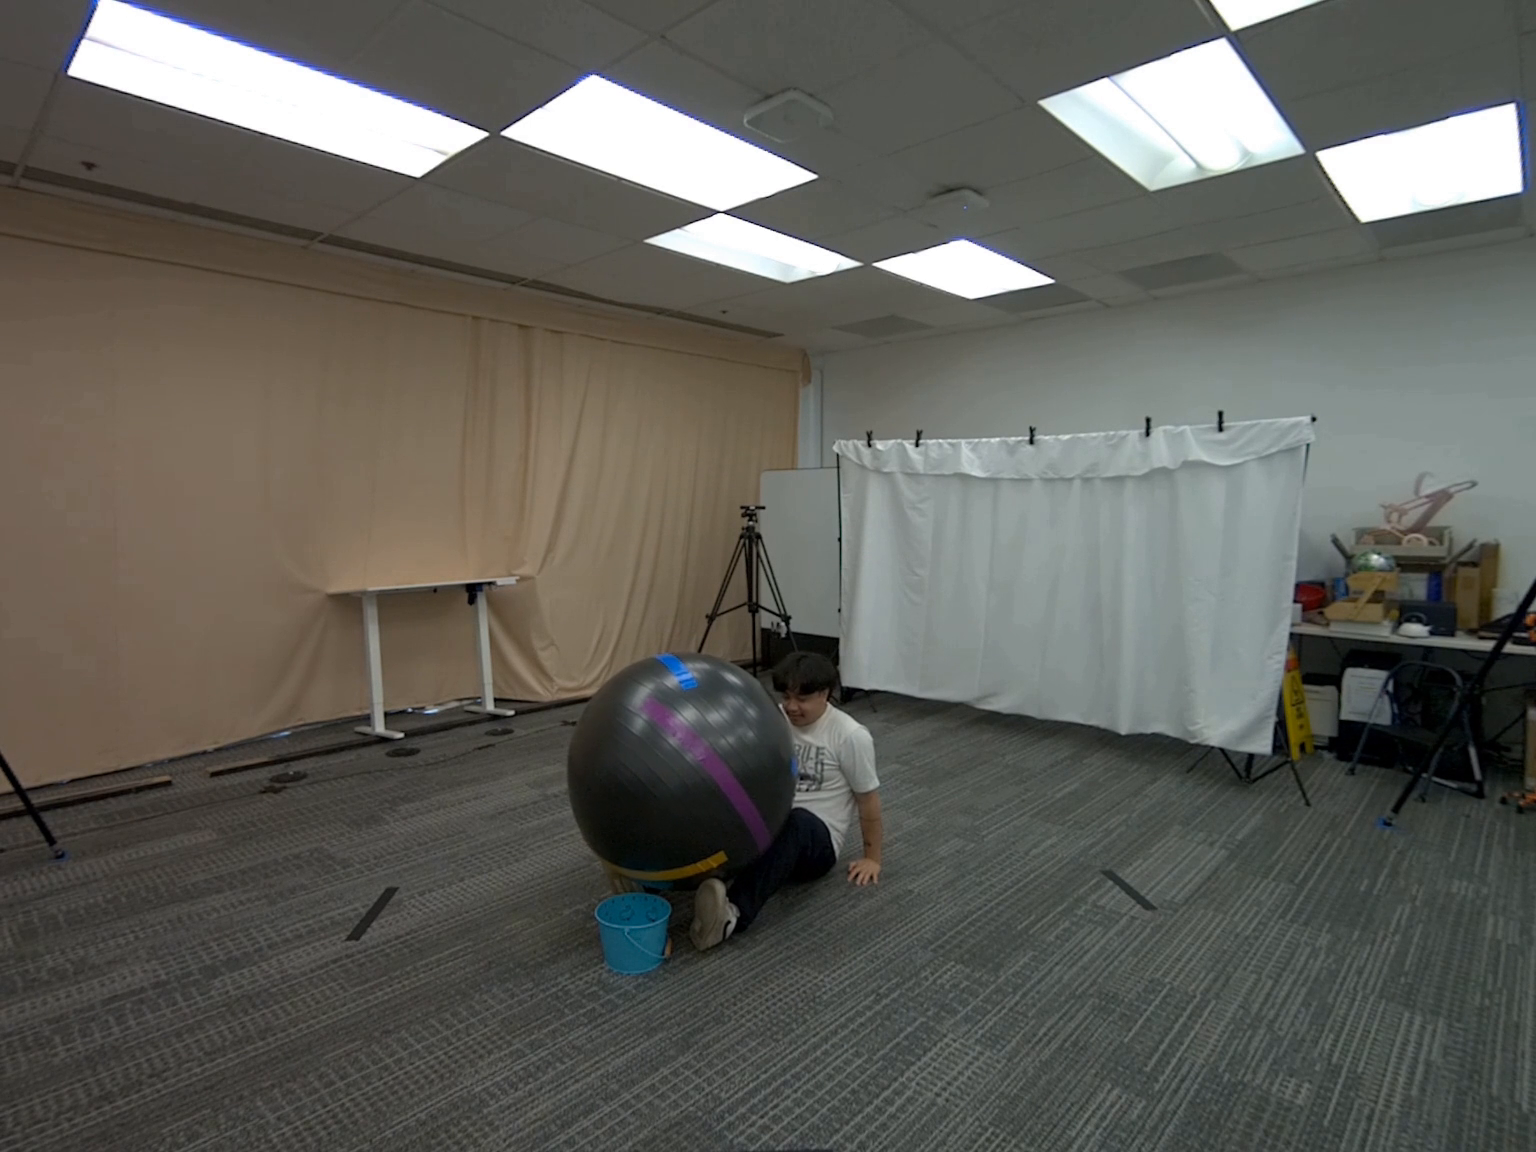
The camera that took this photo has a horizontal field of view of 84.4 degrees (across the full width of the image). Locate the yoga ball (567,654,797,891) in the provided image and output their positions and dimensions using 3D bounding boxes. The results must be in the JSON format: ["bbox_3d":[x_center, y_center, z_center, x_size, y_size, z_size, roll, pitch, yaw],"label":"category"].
[{"bbox_3d":[-0.285,0.633,2.789,0.757,0.756,0.760,0,4,-2],"label":"yoga ball"}]
